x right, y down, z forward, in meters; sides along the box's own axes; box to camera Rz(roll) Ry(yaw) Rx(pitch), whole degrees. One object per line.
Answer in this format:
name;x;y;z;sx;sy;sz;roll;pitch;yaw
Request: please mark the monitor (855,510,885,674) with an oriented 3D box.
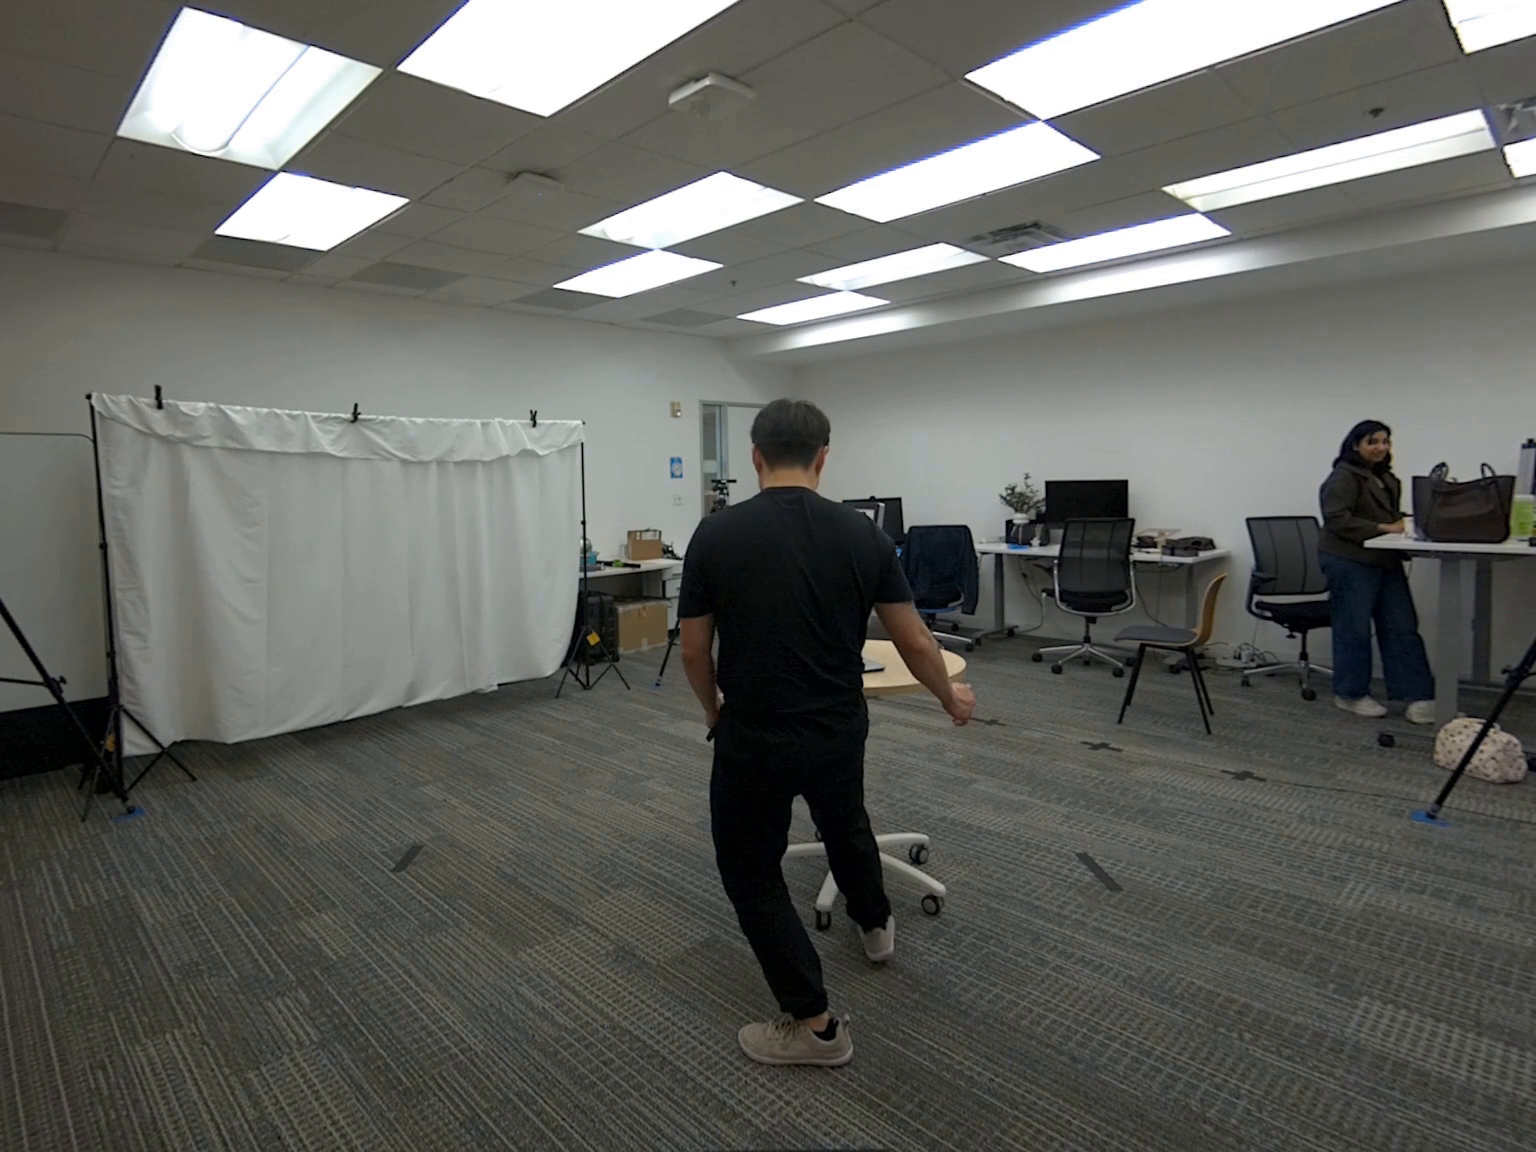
monitor;0.243;0.034;2.791;0.183;0.520;0.552;-5;6;-23
